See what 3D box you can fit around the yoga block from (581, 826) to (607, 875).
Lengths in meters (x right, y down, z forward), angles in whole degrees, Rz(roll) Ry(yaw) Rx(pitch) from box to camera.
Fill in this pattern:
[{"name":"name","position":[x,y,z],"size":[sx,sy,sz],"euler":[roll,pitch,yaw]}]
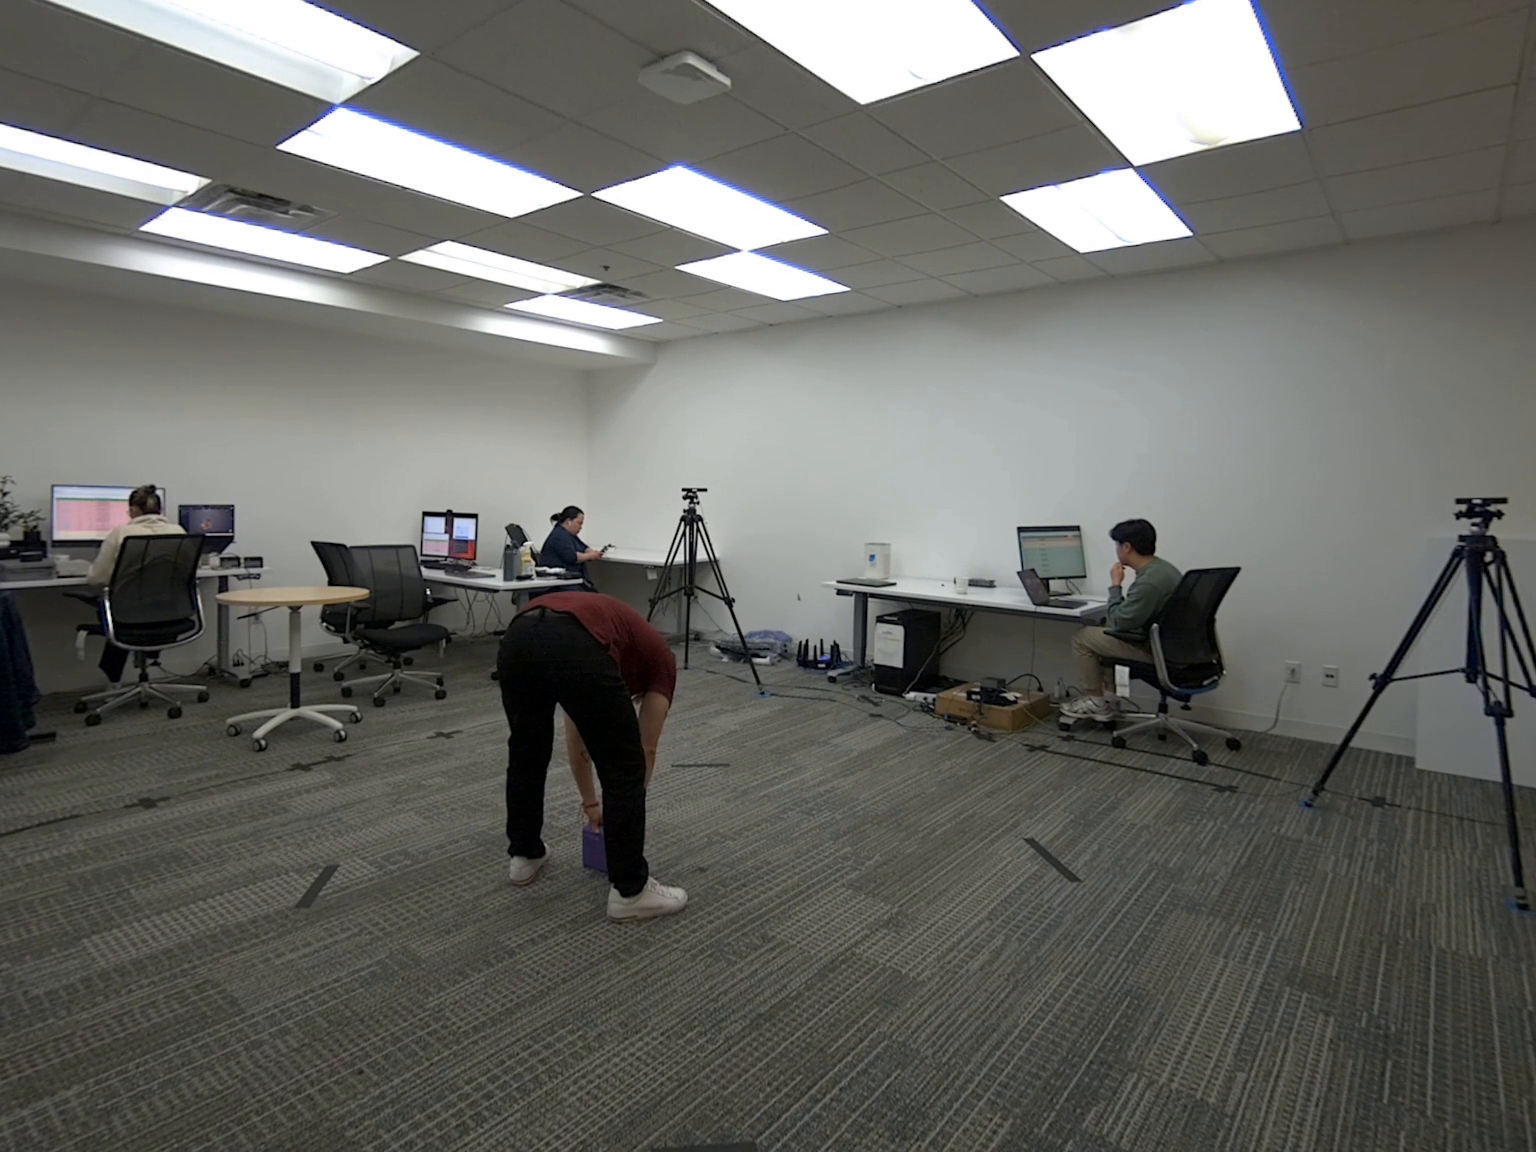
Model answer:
[{"name":"yoga block","position":[-0.582,0.996,3.078],"size":[0.236,0.148,0.075],"euler":[4,8,30]}]
